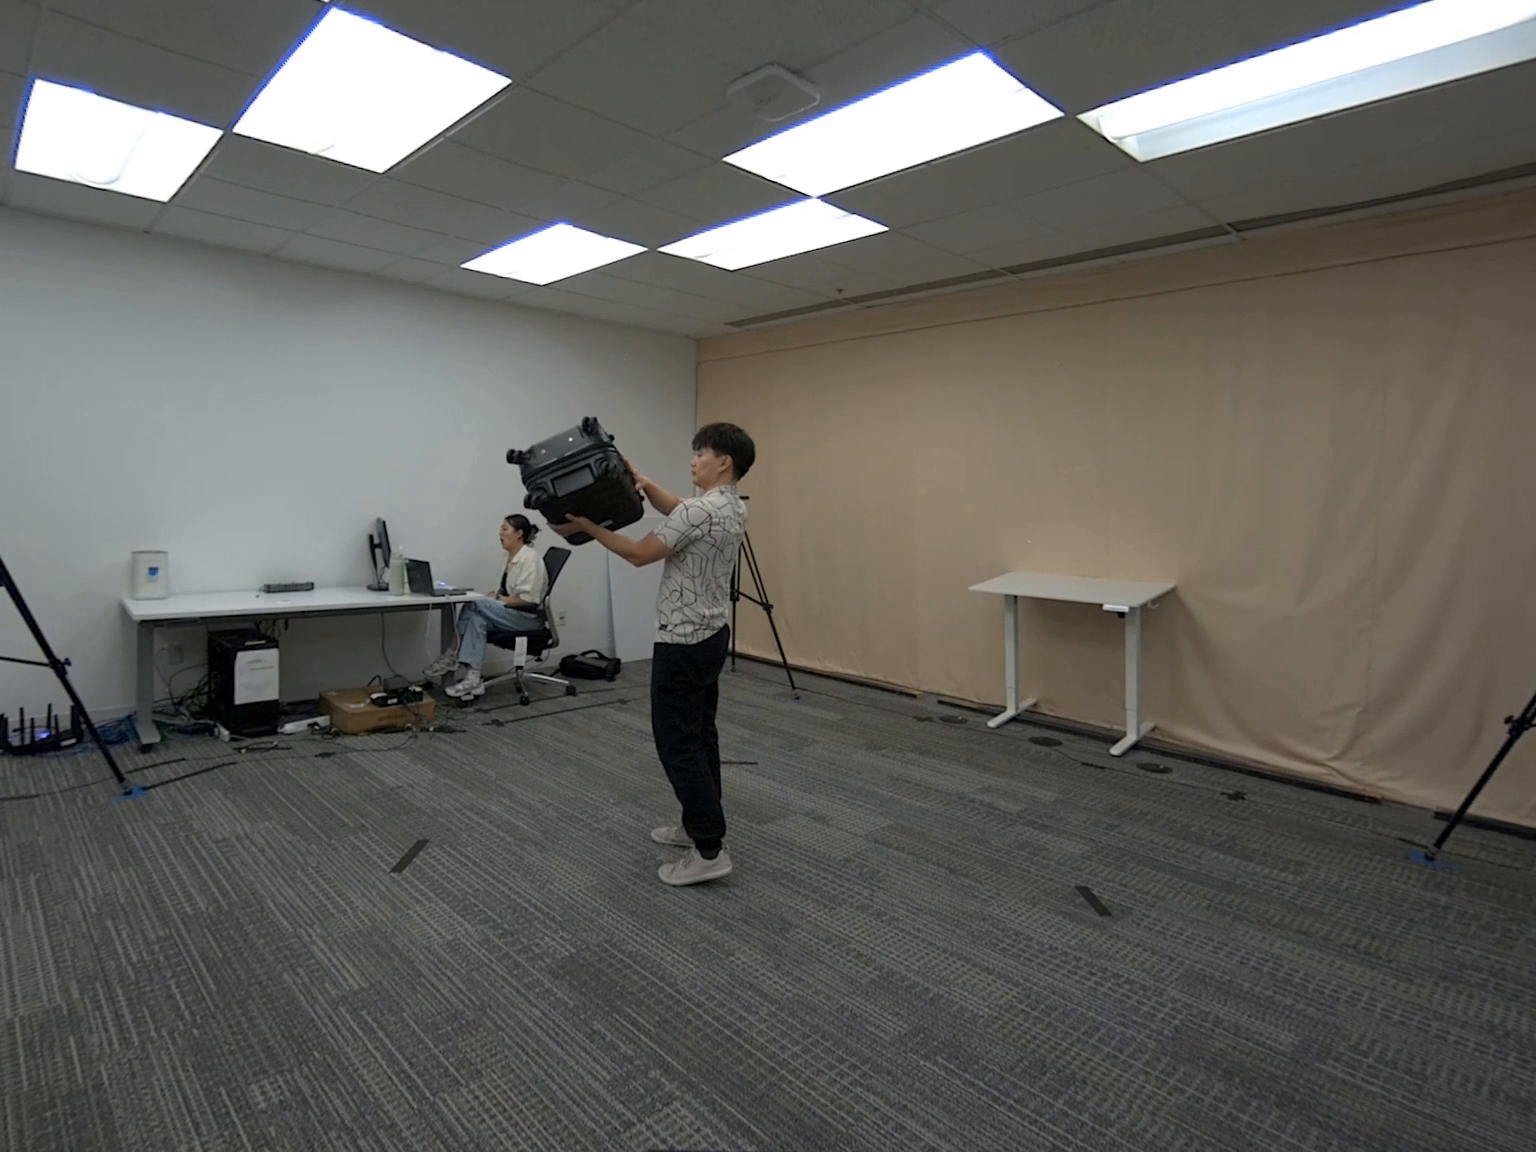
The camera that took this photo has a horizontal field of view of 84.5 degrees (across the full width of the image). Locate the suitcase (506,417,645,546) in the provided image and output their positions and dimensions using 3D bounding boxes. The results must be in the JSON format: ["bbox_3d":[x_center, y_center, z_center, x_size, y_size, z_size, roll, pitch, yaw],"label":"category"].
[{"bbox_3d":[-0.715,-0.335,3.207,0.375,0.253,0.540,-24,-17,-1],"label":"suitcase"}]
